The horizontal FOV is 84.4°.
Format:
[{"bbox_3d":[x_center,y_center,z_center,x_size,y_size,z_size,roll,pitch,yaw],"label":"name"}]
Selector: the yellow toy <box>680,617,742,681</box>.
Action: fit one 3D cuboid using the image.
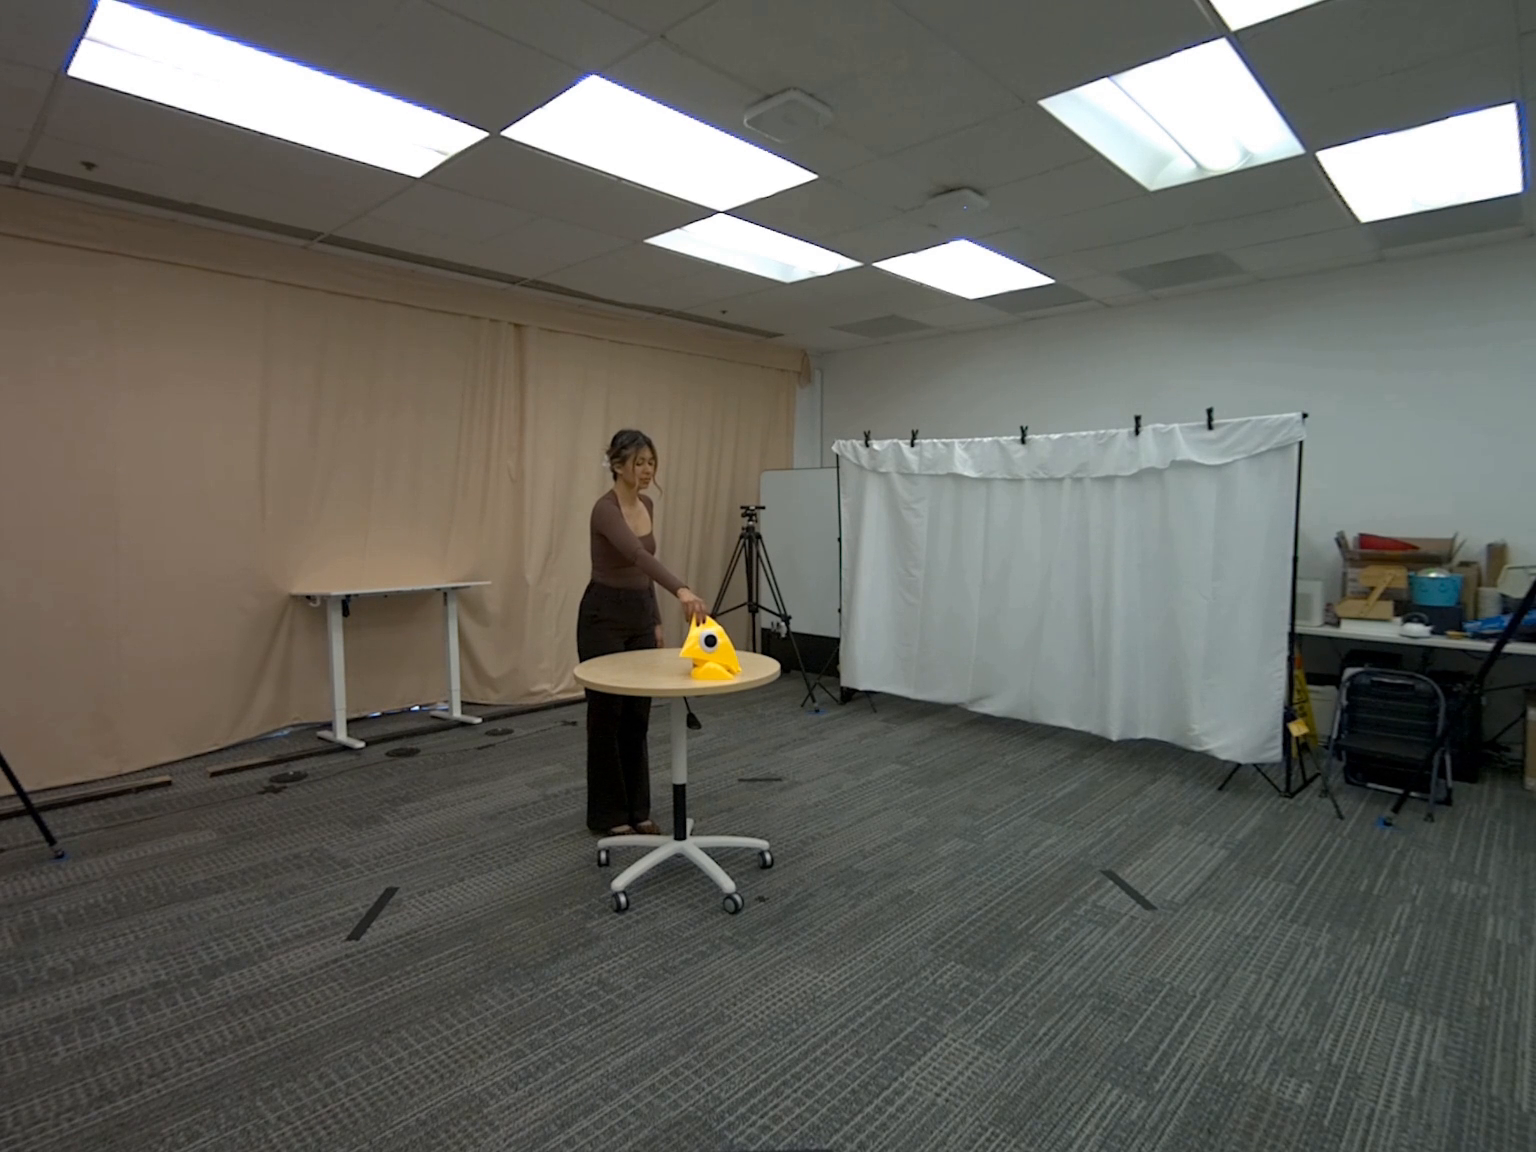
[{"bbox_3d":[-0.195,0.233,2.979,0.196,0.230,0.202,-1,4,14],"label":"yellow toy"}]
